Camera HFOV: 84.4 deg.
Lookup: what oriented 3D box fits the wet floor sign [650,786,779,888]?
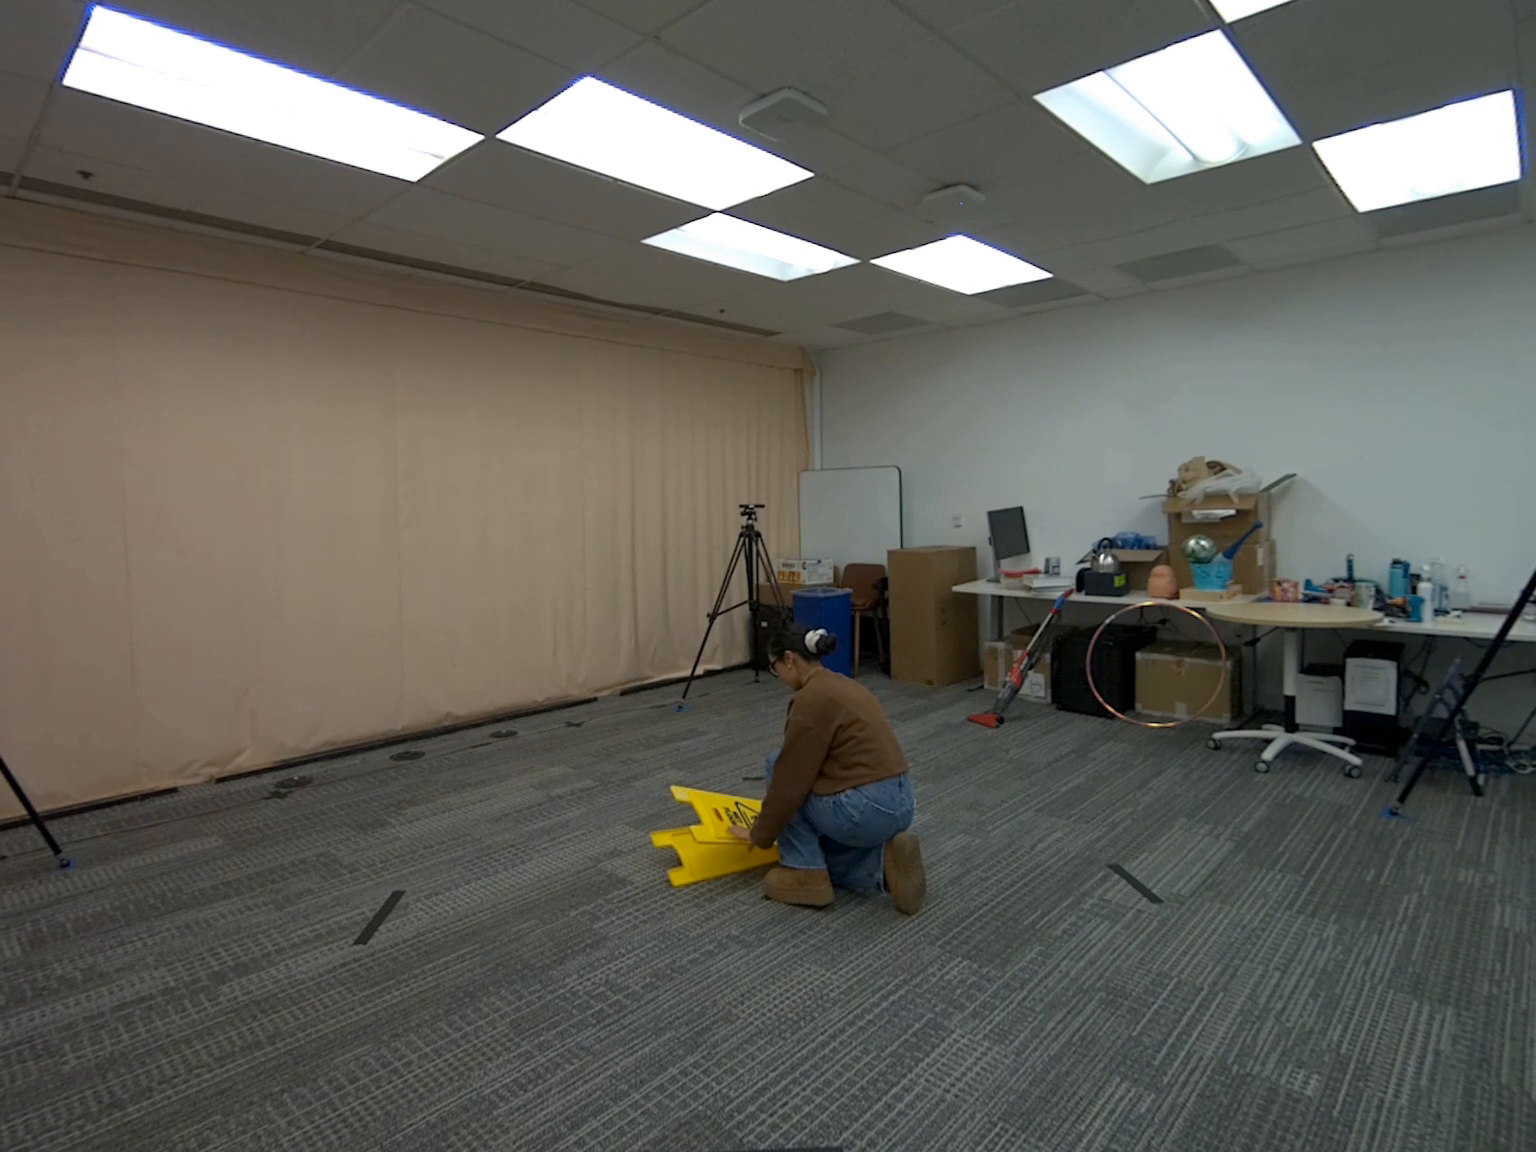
[{"bbox_3d":[-0.089,1.008,3.293,0.627,0.288,0.292,7,26,-31],"label":"wet floor sign"}]
